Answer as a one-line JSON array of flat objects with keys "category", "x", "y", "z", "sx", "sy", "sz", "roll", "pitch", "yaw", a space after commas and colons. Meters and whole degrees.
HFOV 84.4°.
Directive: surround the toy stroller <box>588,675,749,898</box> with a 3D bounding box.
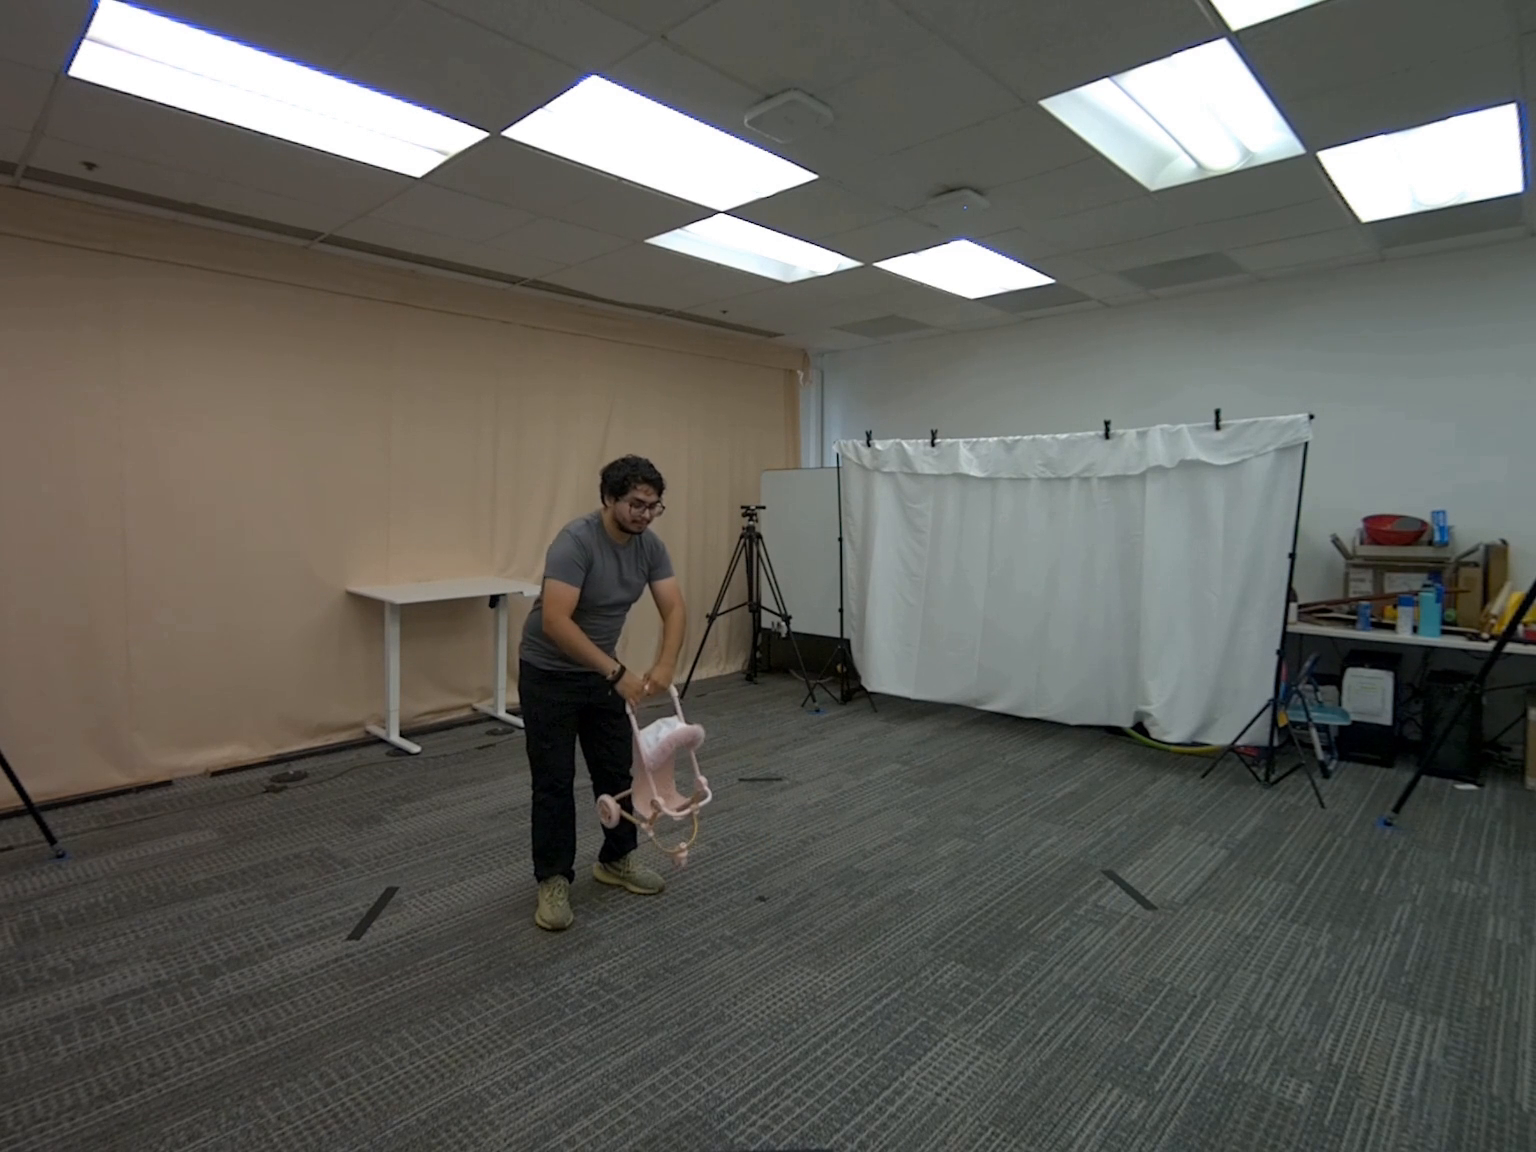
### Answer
[{"category": "toy stroller", "x": -0.334, "y": 0.663, "z": 2.726, "sx": 0.273, "sy": 0.531, "sz": 0.354, "roll": -9, "pitch": 31, "yaw": -43}]
